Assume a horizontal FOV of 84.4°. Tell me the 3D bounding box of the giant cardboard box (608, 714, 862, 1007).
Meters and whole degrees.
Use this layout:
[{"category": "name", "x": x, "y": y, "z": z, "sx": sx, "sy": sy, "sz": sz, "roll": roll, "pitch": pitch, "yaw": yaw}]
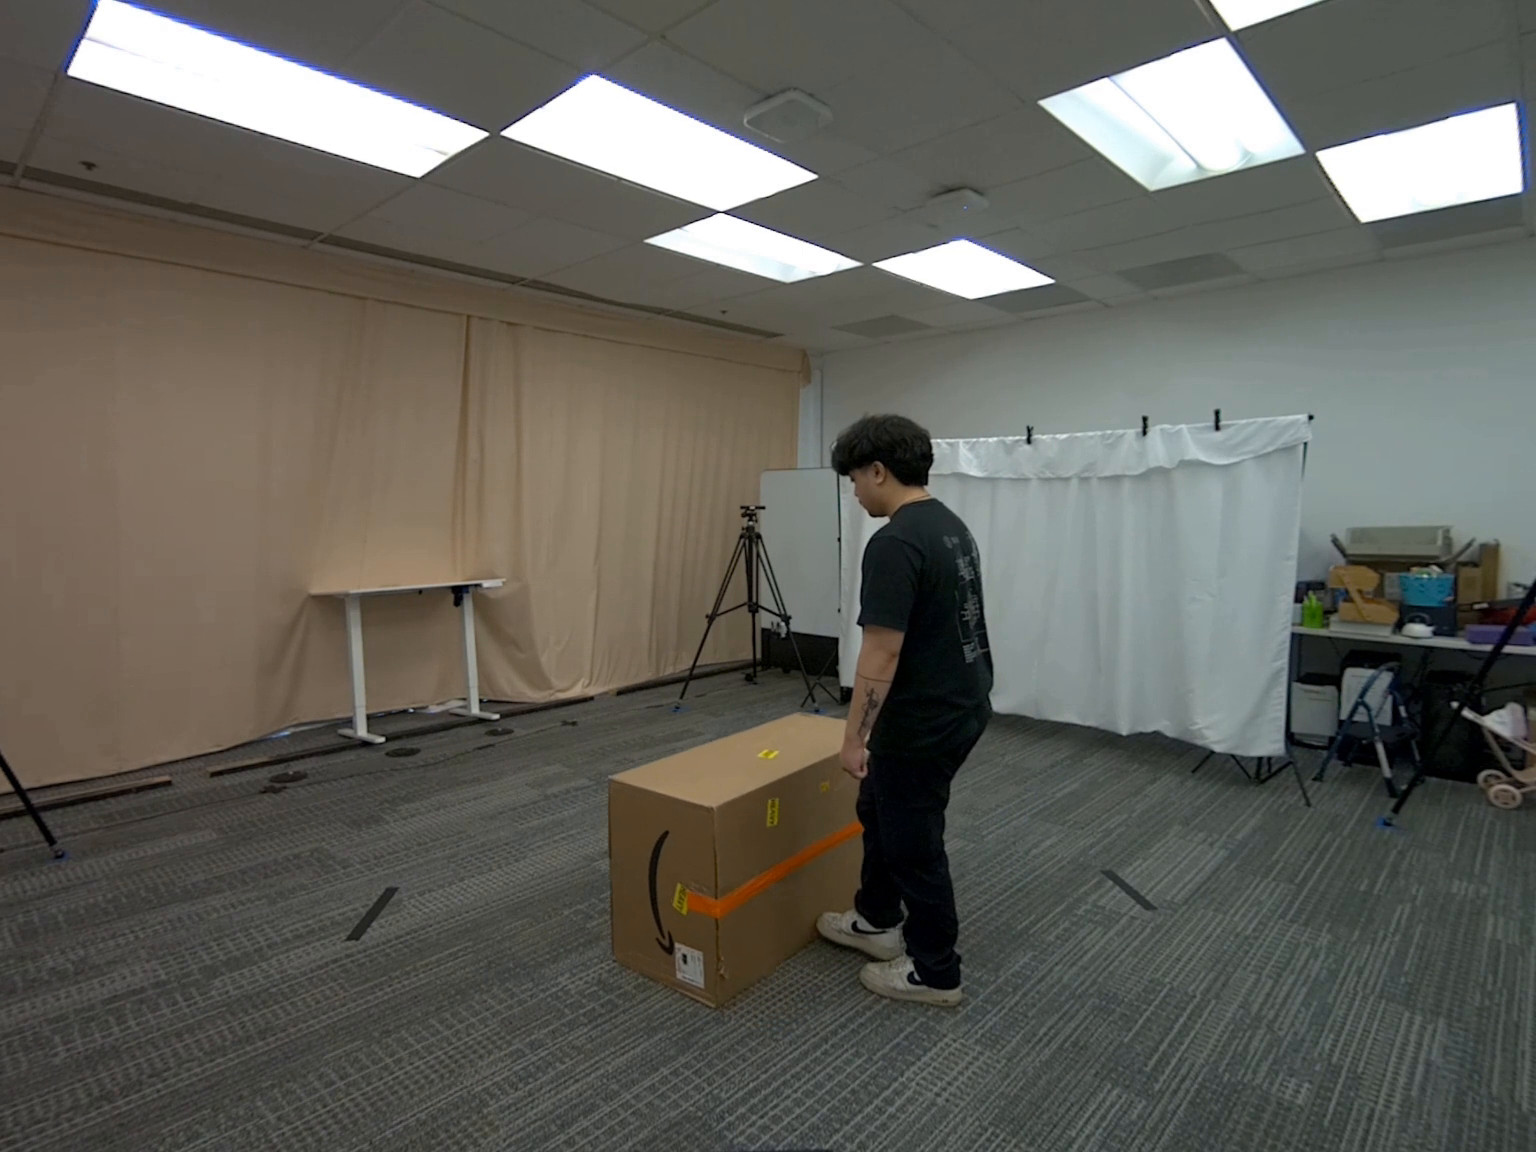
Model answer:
[{"category": "giant cardboard box", "x": -0.013, "y": 0.872, "z": 2.831, "sx": 0.461, "sy": 0.582, "sz": 0.997, "roll": 4, "pitch": 6, "yaw": 38}]
